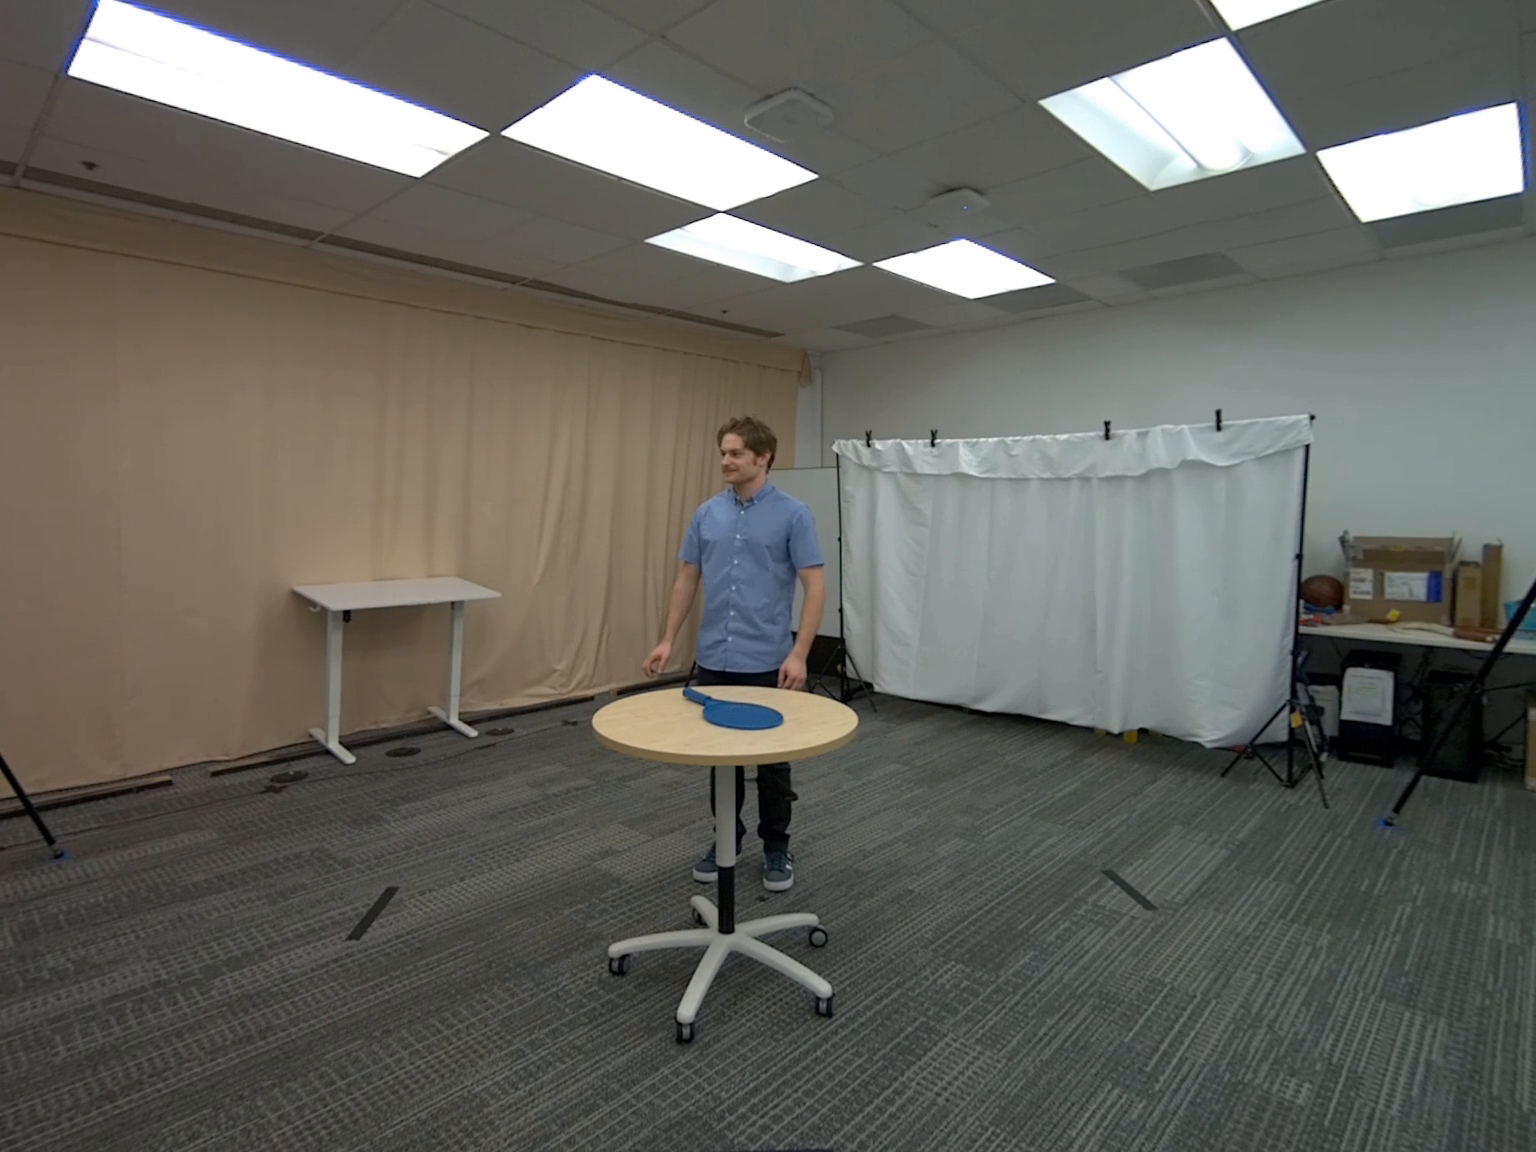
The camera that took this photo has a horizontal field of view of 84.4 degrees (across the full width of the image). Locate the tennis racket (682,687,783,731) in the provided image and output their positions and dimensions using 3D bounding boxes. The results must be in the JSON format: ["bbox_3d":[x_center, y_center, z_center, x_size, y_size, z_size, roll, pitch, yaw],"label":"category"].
[{"bbox_3d":[-0.122,0.393,2.476,0.207,0.031,0.447,-5,9,-37],"label":"tennis racket"}]
